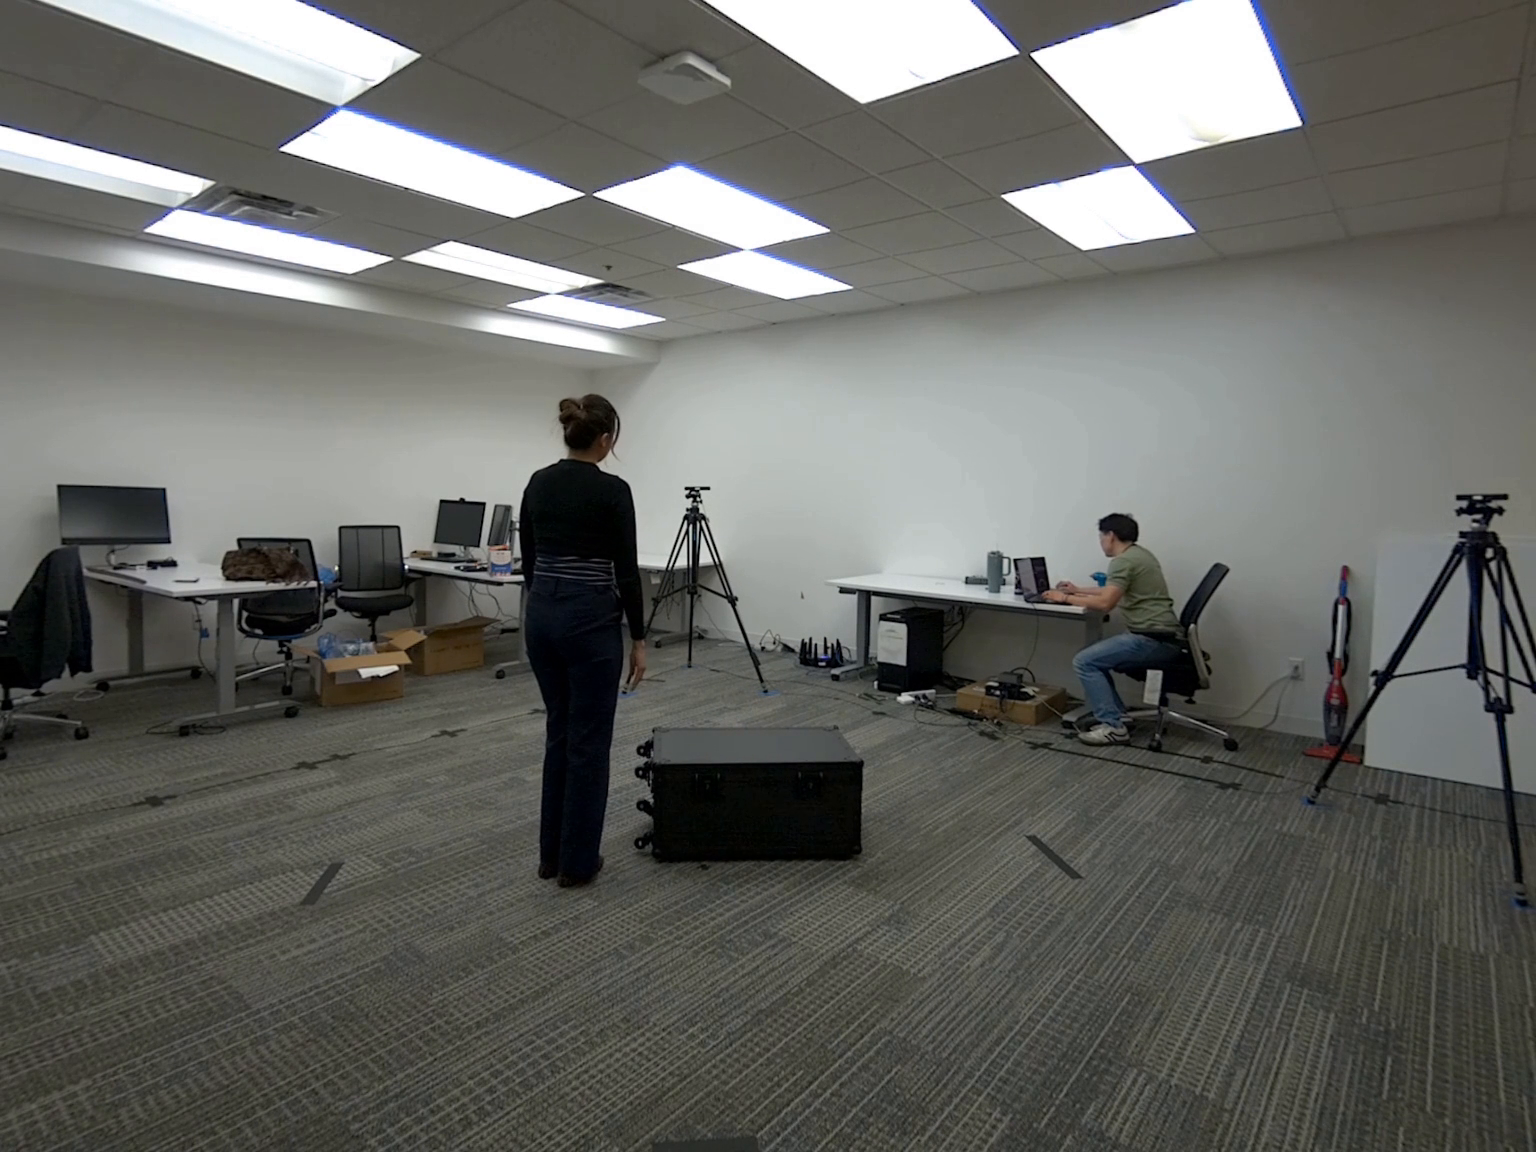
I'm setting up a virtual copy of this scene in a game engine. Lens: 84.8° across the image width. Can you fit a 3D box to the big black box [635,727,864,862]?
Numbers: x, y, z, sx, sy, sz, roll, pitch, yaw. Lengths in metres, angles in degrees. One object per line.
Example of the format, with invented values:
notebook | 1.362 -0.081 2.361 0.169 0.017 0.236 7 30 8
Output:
big black box | -0.109 0.845 3.397 0.857 0.395 0.526 1 5 -5
